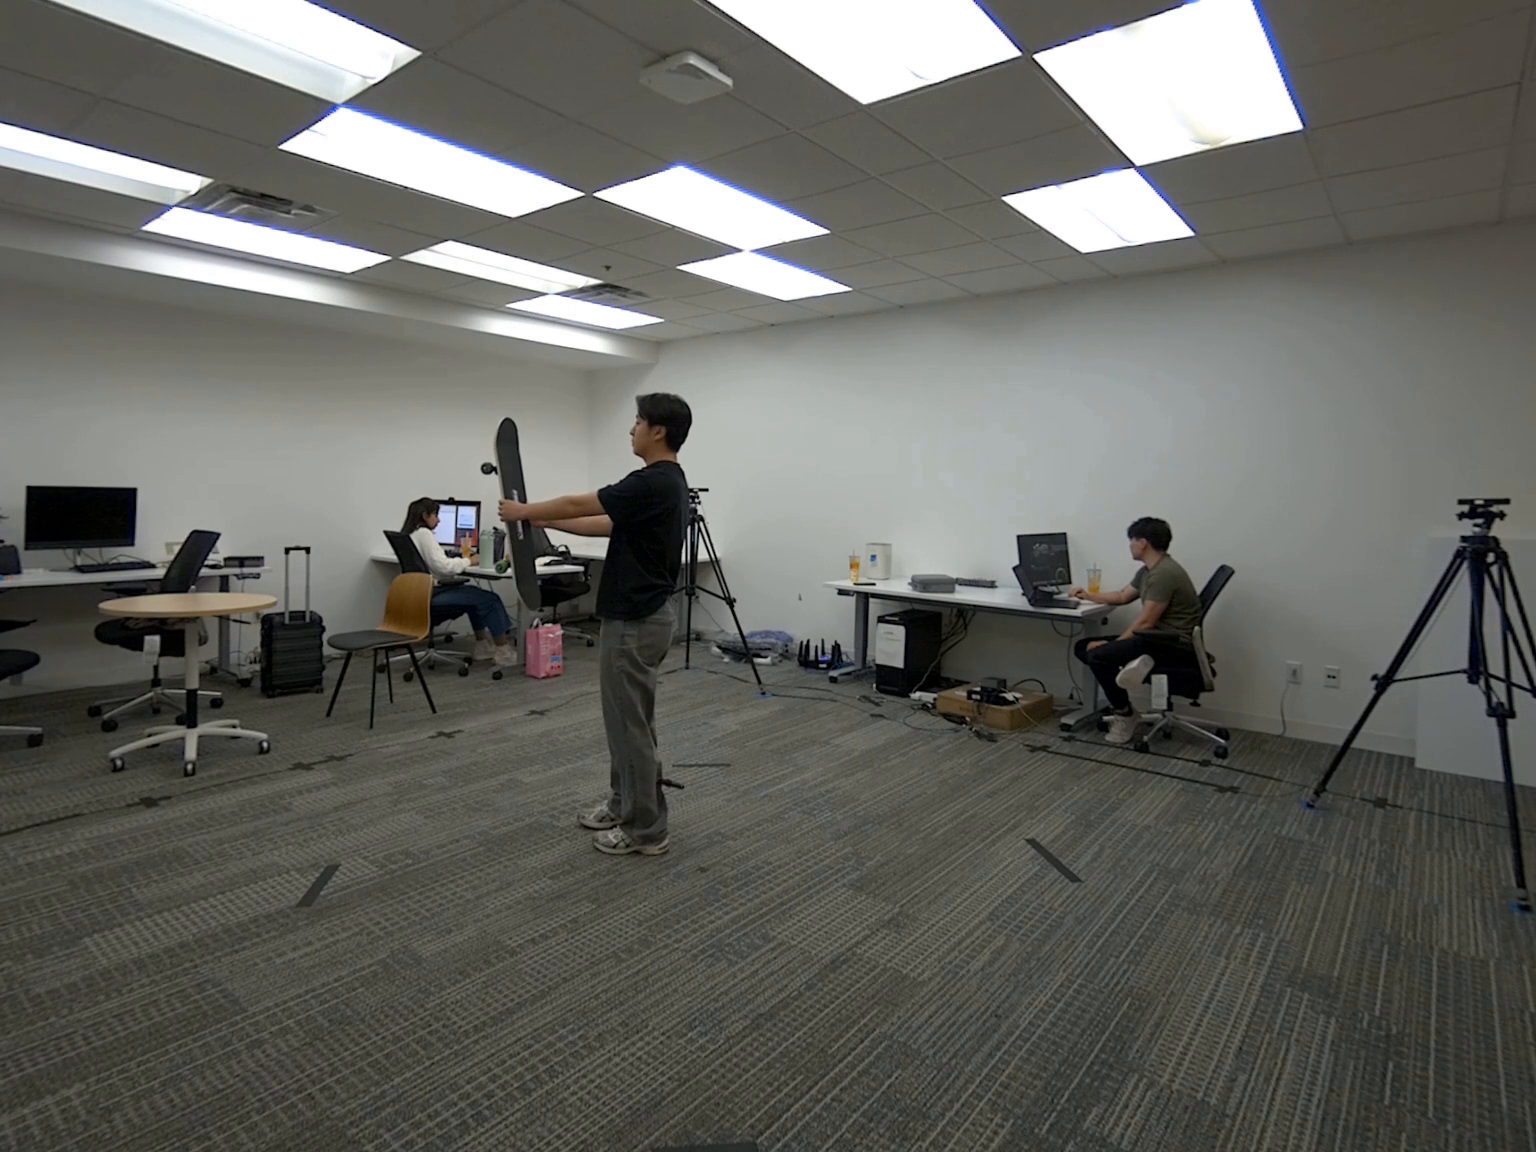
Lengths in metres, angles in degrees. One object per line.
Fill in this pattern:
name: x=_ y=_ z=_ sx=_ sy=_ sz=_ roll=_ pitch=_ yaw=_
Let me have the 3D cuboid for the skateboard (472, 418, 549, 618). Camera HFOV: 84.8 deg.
skateboard: x=-1.052 y=-0.242 z=3.442 sx=0.112 sy=0.784 sz=0.191 roll=-8 pitch=2 yaw=13
